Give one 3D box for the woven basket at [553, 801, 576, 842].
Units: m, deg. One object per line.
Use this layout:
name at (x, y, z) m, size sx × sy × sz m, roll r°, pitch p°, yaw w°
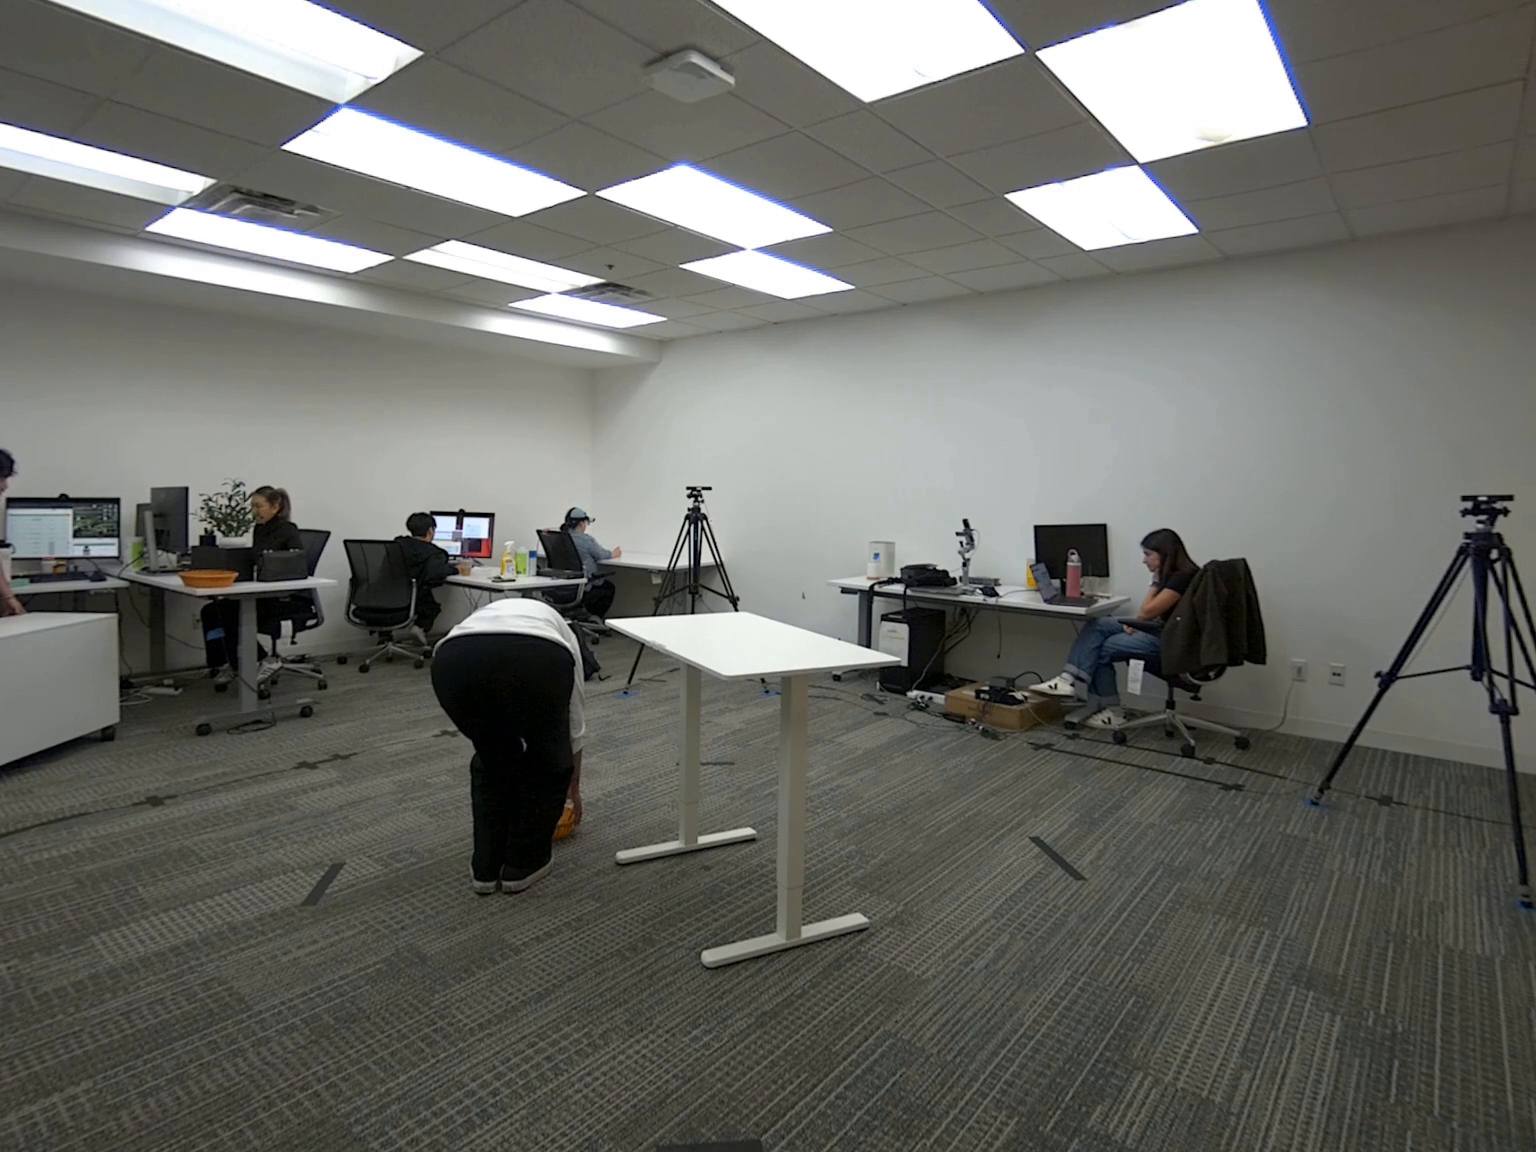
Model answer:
woven basket at (-0.929, 0.976, 3.407) m, size 0.350 × 0.073 × 0.253 m, roll 0°, pitch 4°, yaw -1°
